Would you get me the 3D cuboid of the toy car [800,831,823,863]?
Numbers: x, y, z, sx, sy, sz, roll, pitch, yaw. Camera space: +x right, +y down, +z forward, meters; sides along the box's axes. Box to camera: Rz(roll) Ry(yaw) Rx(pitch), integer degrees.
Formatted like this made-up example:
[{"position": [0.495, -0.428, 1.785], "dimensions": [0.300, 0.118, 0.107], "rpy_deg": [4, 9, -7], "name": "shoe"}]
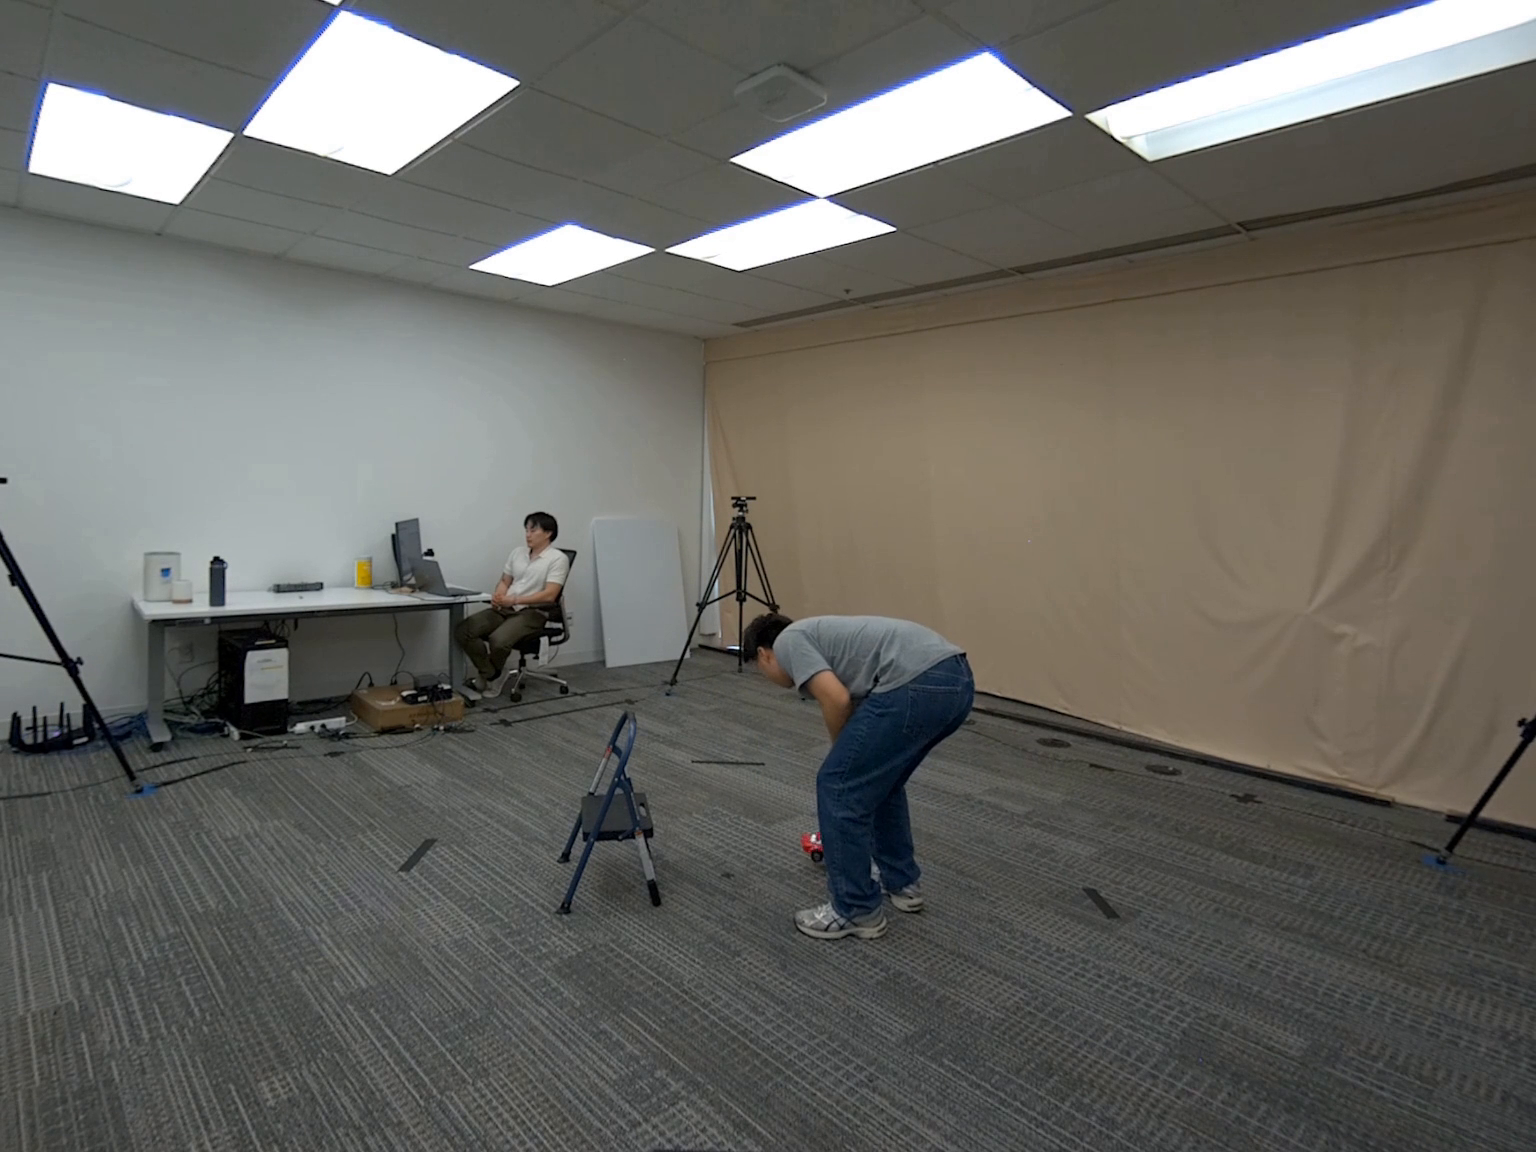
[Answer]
[{"position": [0.245, 1.045, 3.163], "dimensions": [0.257, 0.083, 0.129], "rpy_deg": [21, 11, 10], "name": "toy car"}]
